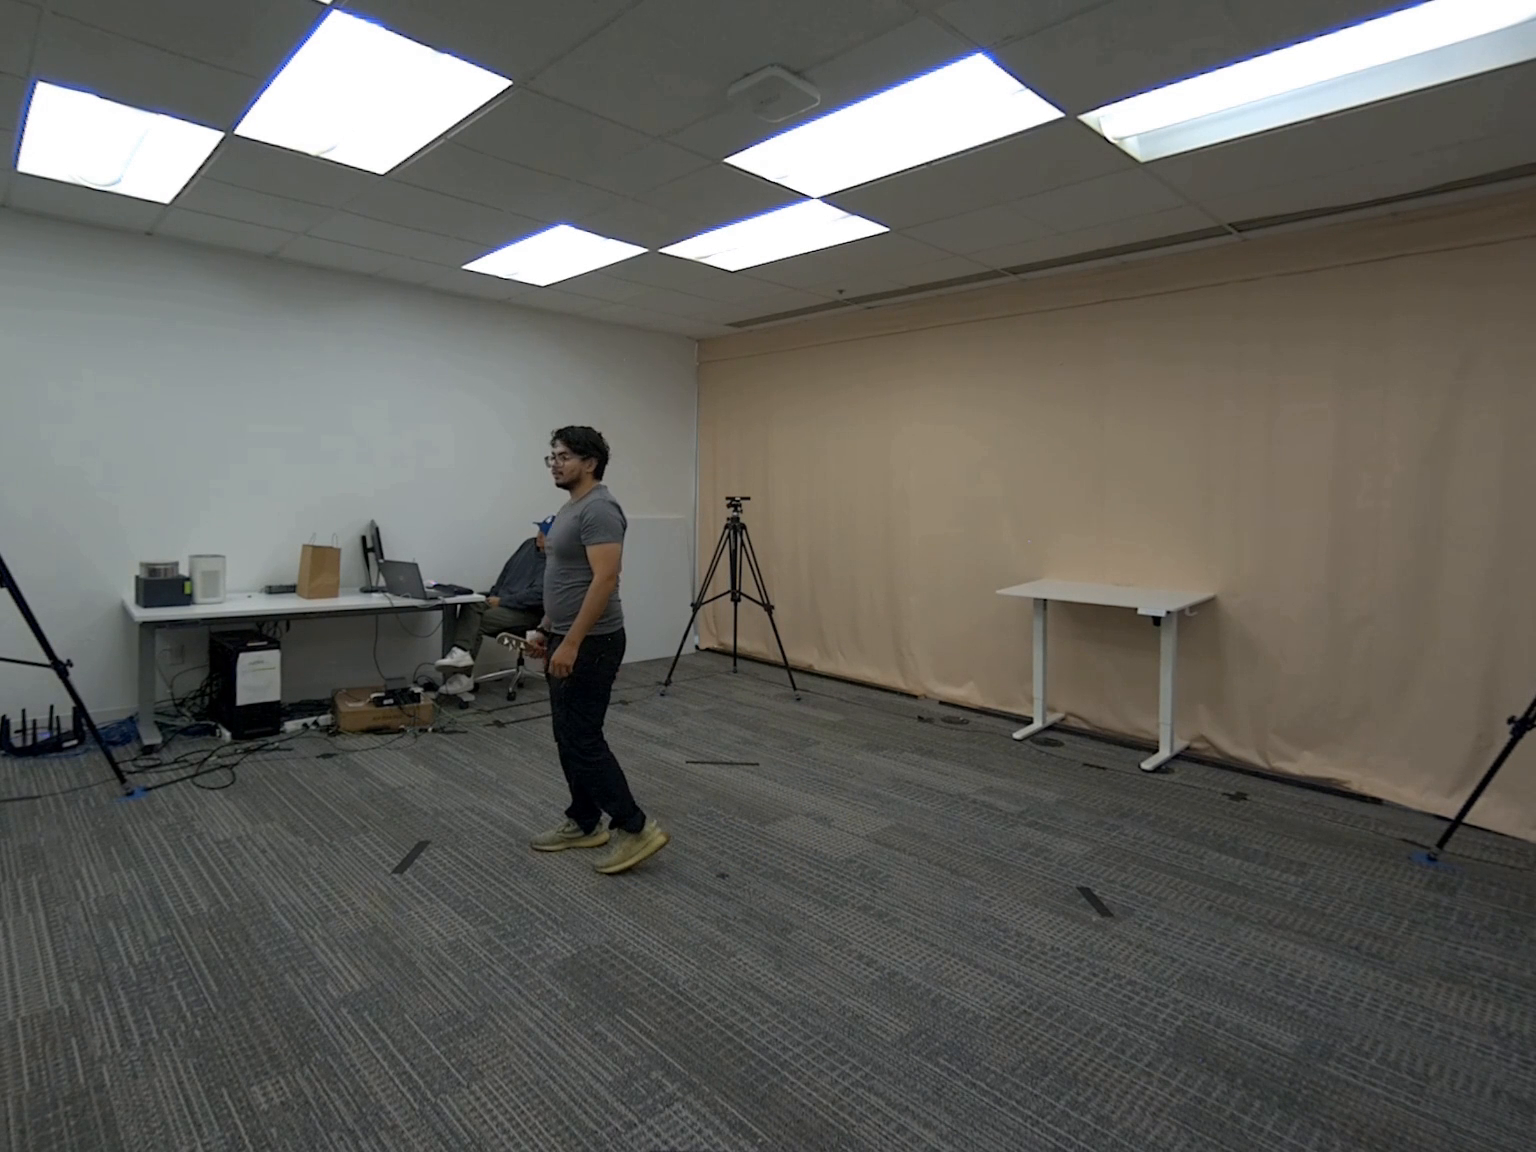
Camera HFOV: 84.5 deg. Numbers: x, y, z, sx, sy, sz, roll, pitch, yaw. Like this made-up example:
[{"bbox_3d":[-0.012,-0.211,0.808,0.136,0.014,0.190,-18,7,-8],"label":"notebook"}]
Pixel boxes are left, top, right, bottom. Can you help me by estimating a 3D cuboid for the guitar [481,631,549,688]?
[{"bbox_3d":[-0.903,0.364,3.485,0.484,0.192,0.073,17,33,-34],"label":"guitar"}]
